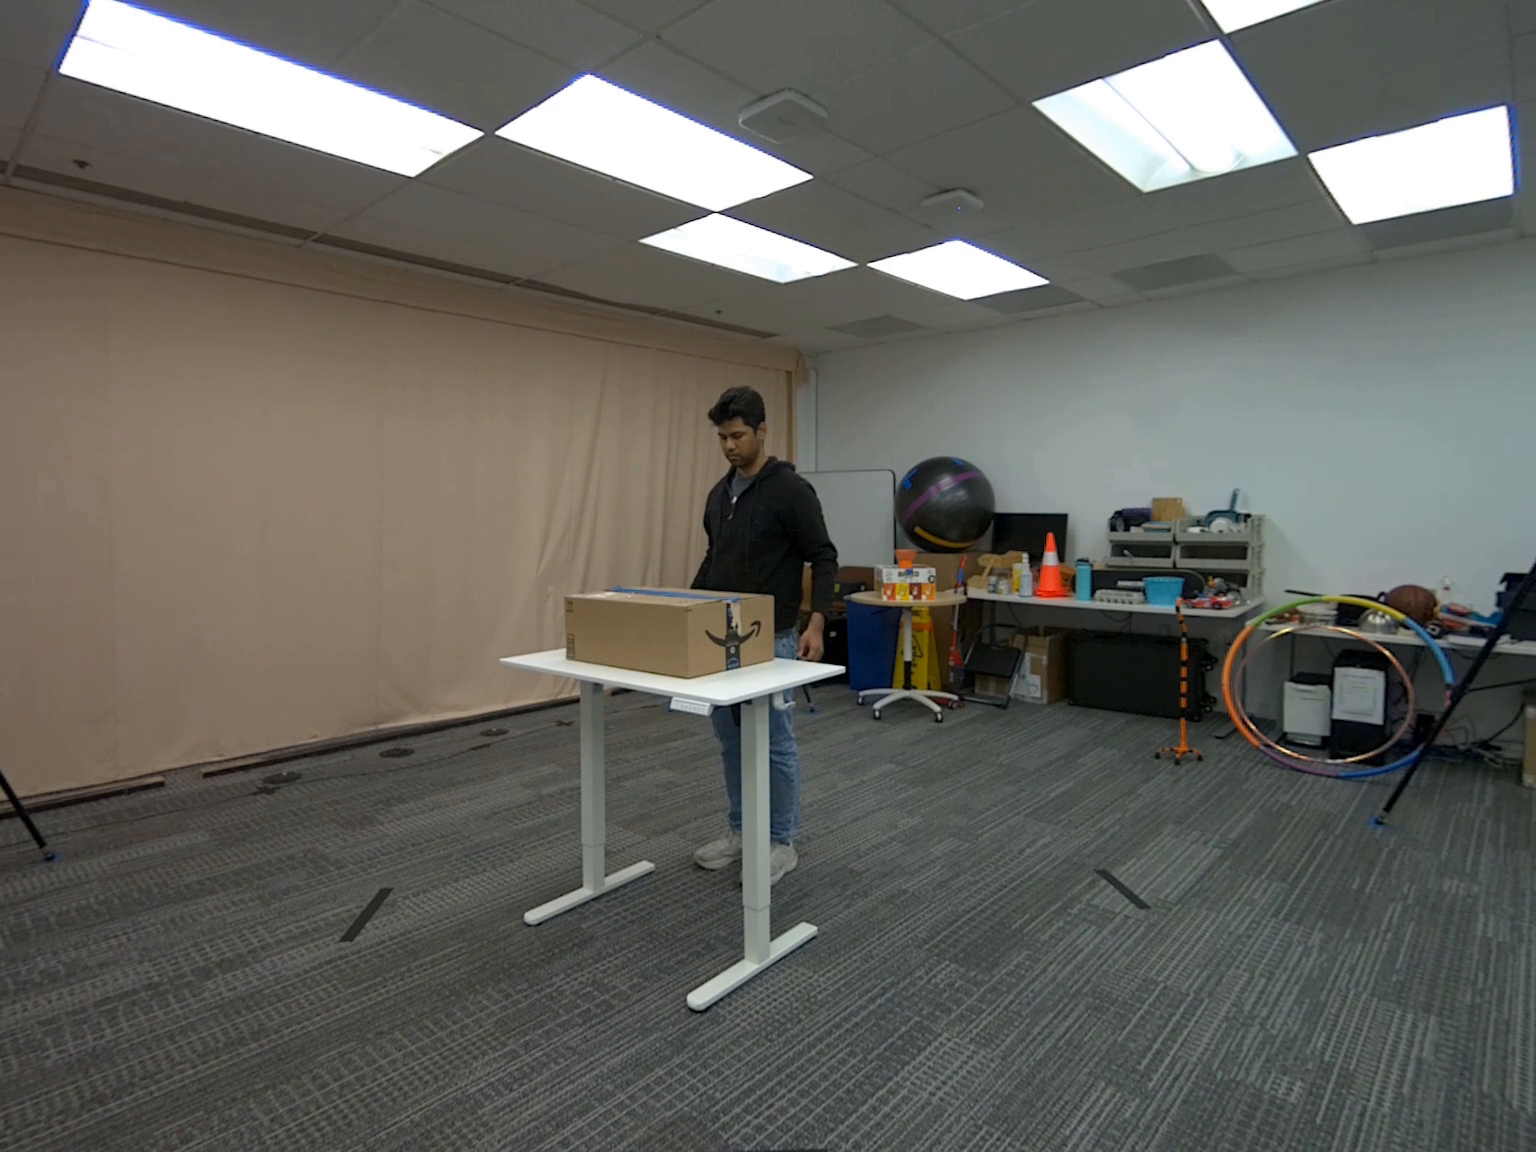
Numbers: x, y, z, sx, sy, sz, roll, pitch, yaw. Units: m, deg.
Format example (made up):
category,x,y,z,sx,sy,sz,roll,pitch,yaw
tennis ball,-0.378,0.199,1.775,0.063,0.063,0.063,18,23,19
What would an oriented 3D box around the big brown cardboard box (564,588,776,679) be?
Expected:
category,x,y,z,sx,sy,sz,roll,pitch,yaw
big brown cardboard box,-0.331,0.169,2.807,0.608,0.232,0.405,4,6,39
